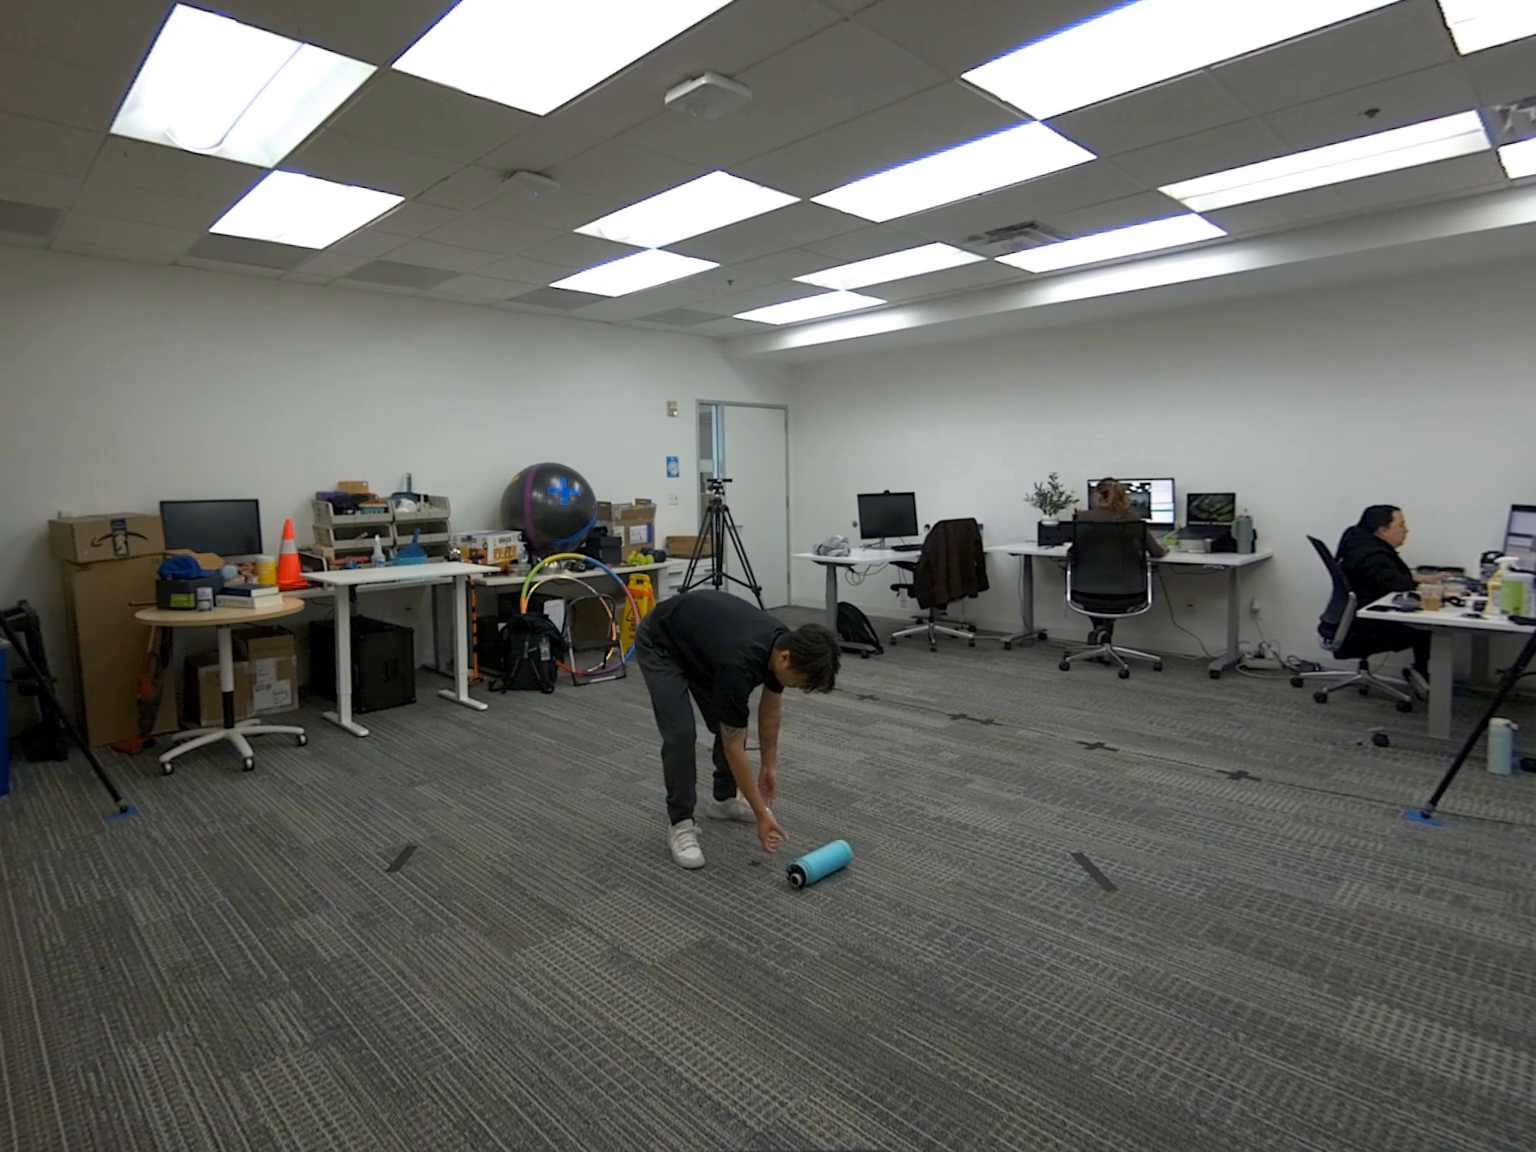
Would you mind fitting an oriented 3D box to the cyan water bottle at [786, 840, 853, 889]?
[{"bbox_3d":[0.177,1.006,2.990,0.095,0.092,0.277,3,10,41],"label":"cyan water bottle"}]
